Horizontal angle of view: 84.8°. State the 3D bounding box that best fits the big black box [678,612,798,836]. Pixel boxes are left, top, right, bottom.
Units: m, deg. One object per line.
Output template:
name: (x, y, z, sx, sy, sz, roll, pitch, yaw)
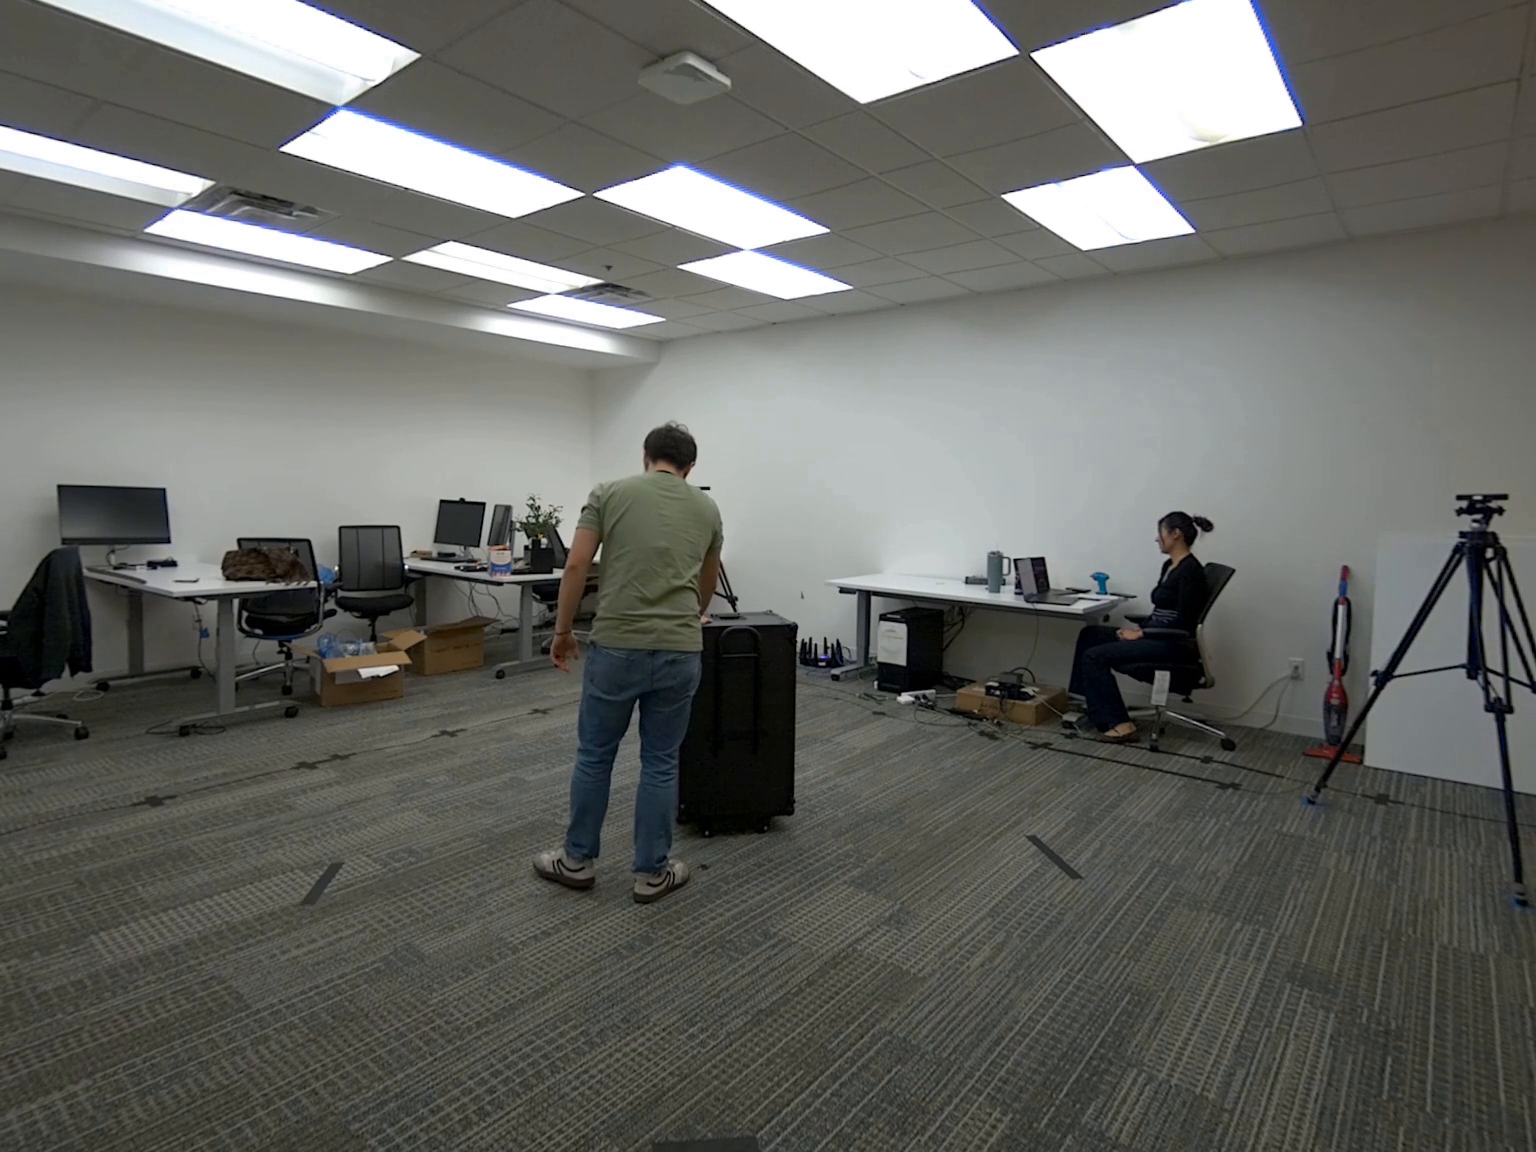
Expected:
big black box: (-0.173, 0.544, 3.526, 0.513, 0.859, 0.403, 0, 3, -15)
